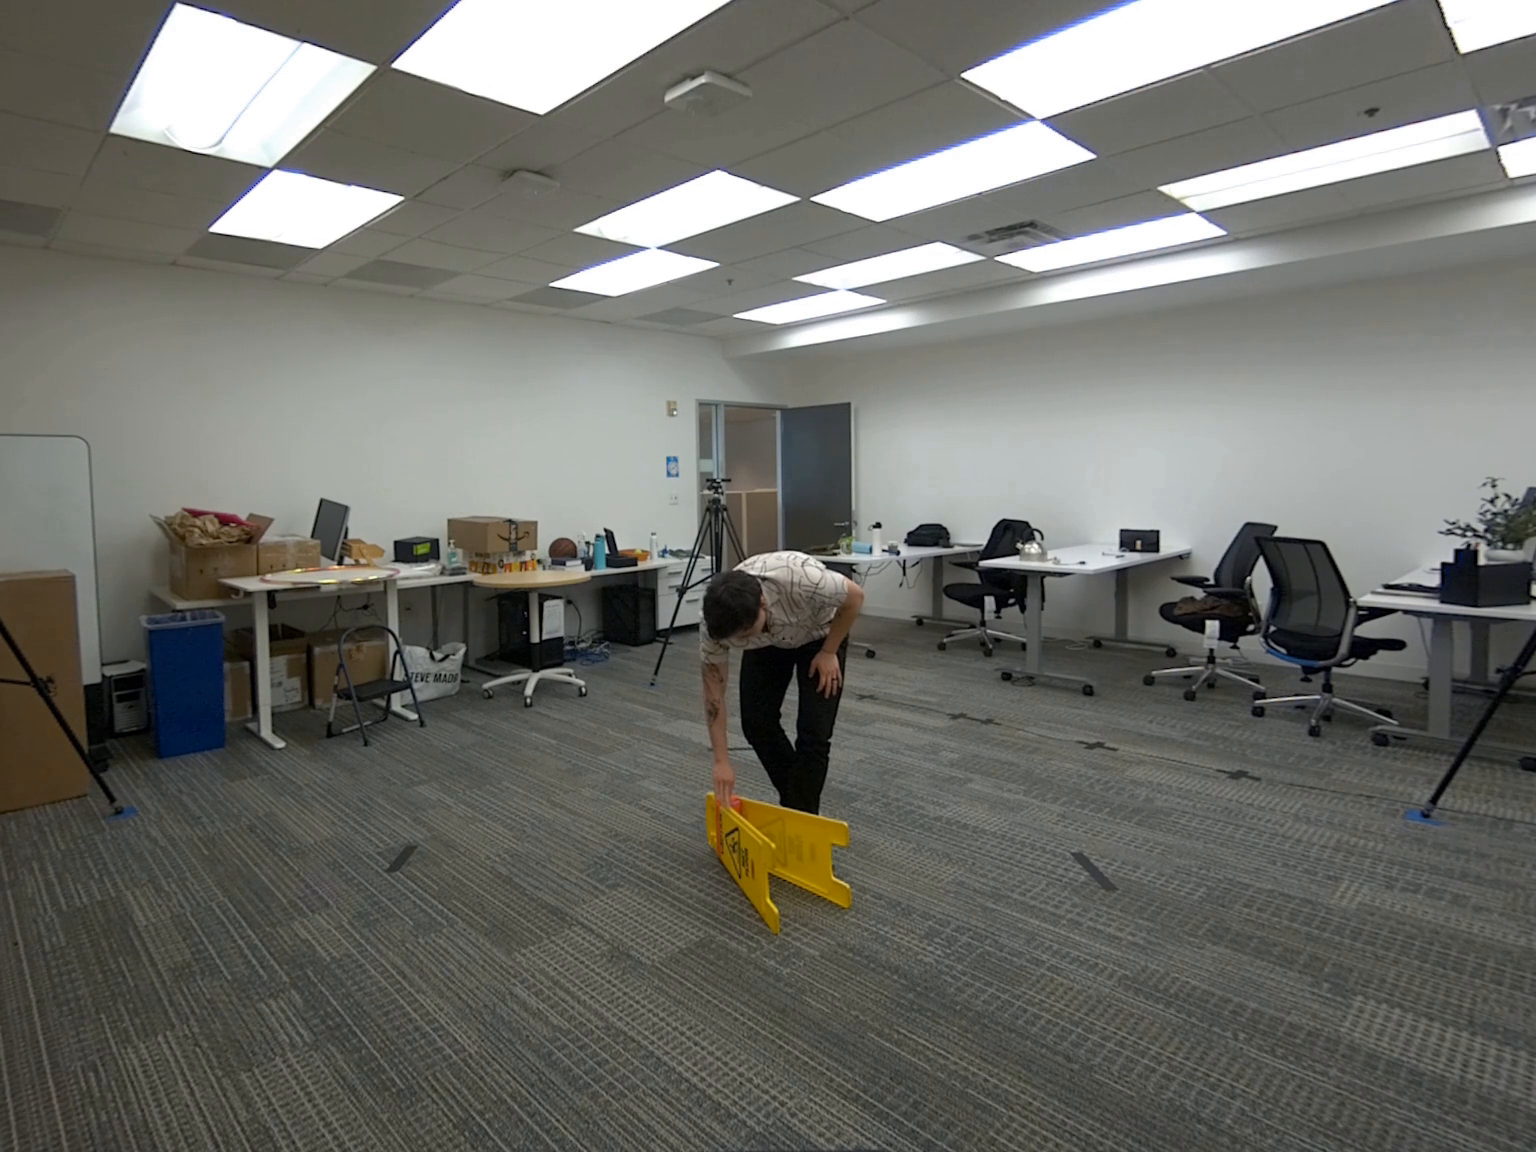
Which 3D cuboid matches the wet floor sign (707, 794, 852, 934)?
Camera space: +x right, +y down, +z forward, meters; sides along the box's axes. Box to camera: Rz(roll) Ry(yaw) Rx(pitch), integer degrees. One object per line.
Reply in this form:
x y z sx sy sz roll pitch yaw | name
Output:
-0.038 0.931 2.957 0.283 0.281 0.664 -5 5 -34 | wet floor sign
